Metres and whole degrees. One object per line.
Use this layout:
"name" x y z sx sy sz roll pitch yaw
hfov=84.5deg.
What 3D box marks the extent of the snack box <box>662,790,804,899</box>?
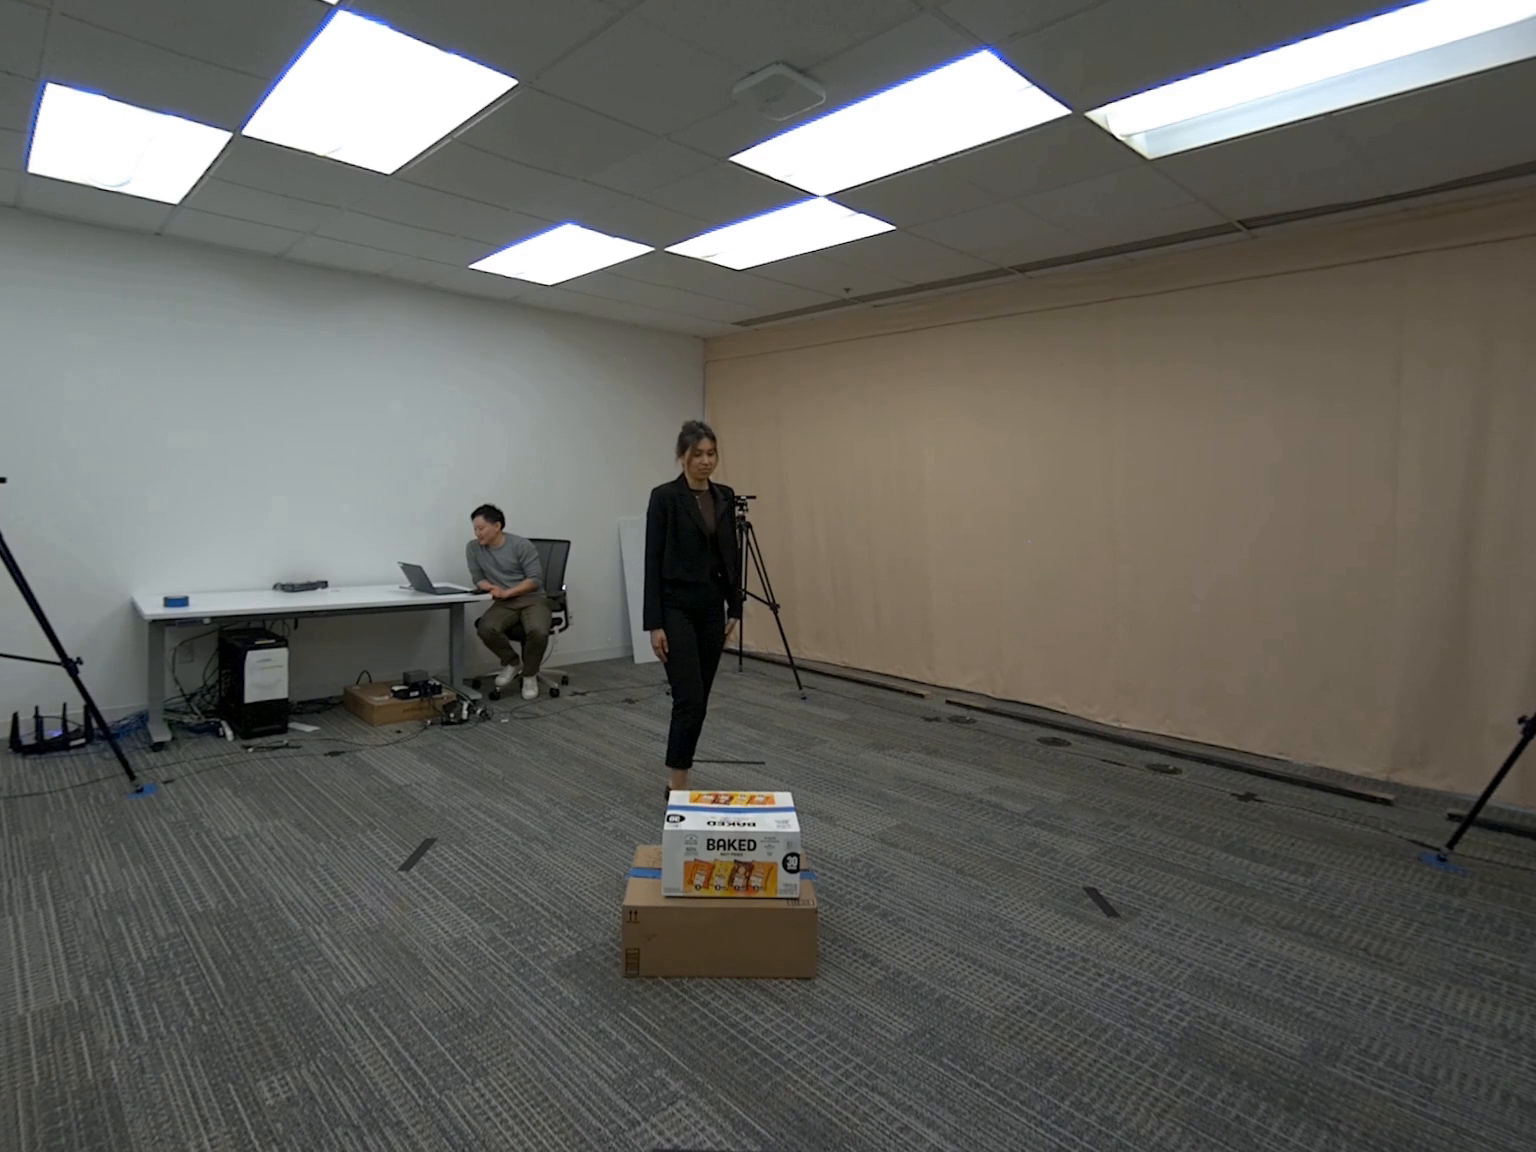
"snack box" -0.120 0.830 2.618 0.405 0.205 0.341 1 3 -2
